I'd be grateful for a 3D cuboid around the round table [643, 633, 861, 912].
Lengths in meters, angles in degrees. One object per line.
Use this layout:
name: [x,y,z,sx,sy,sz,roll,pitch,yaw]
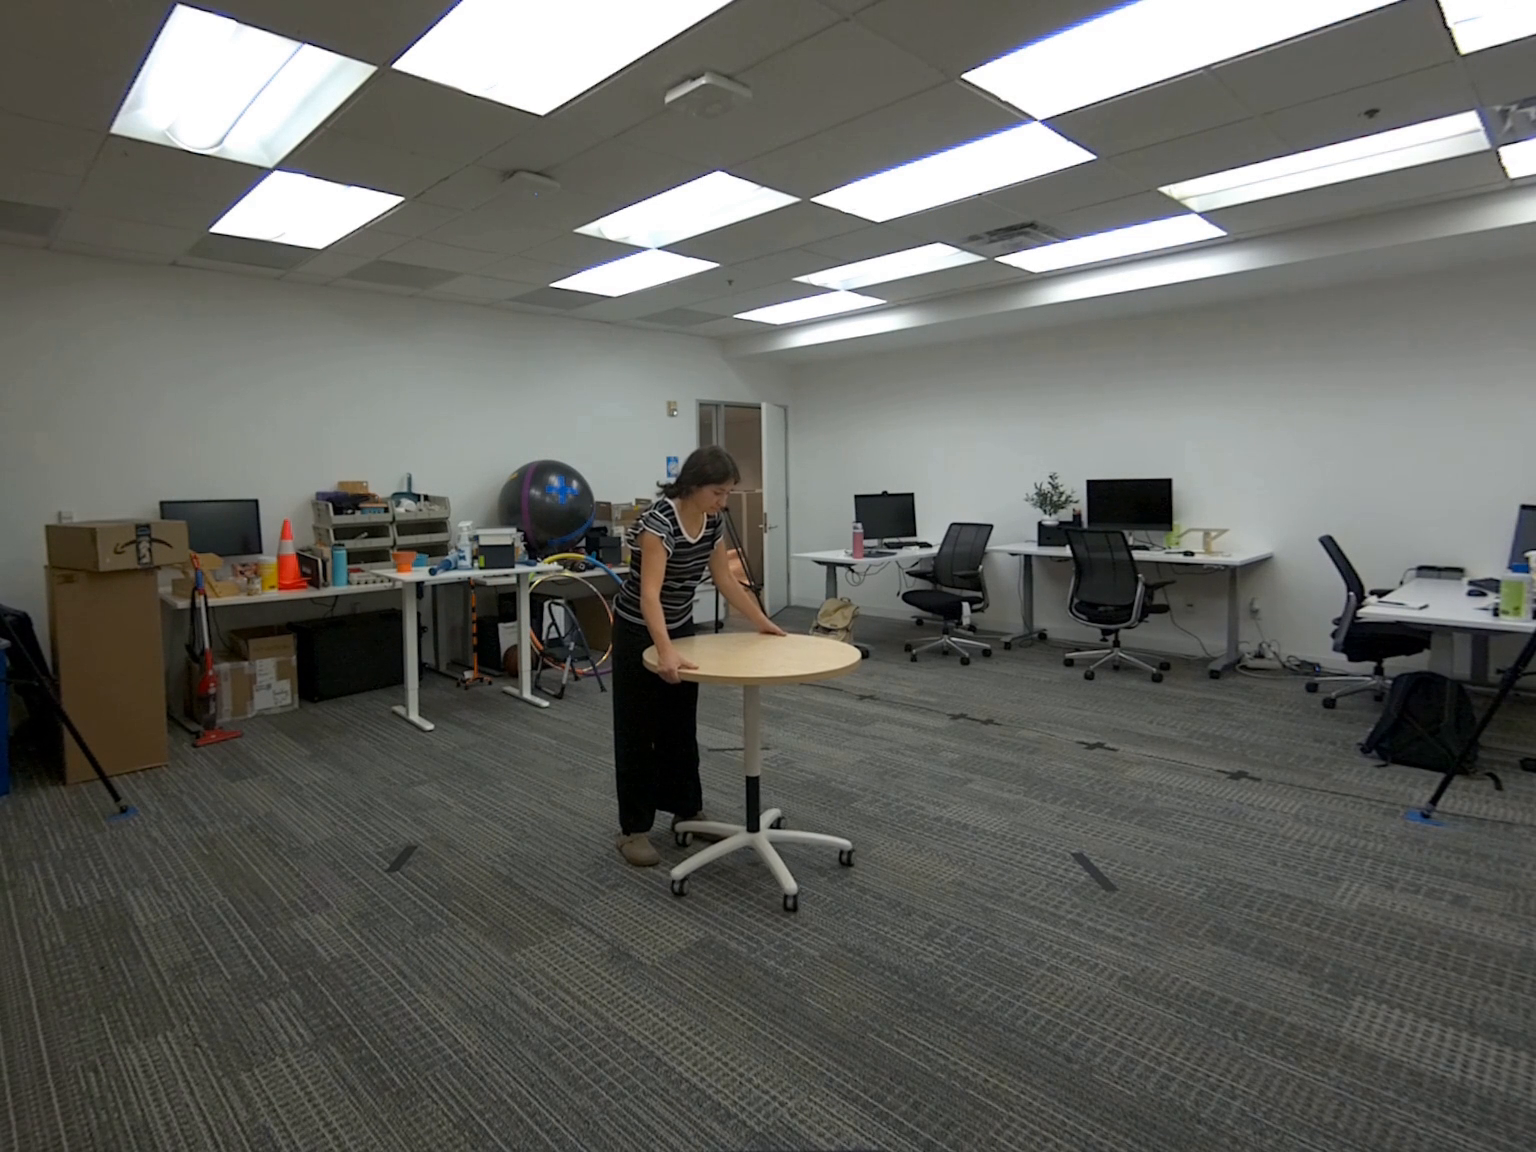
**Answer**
round table: [-0.051,0.663,3.030,0.763,0.791,0.768,-1,5,-2]
